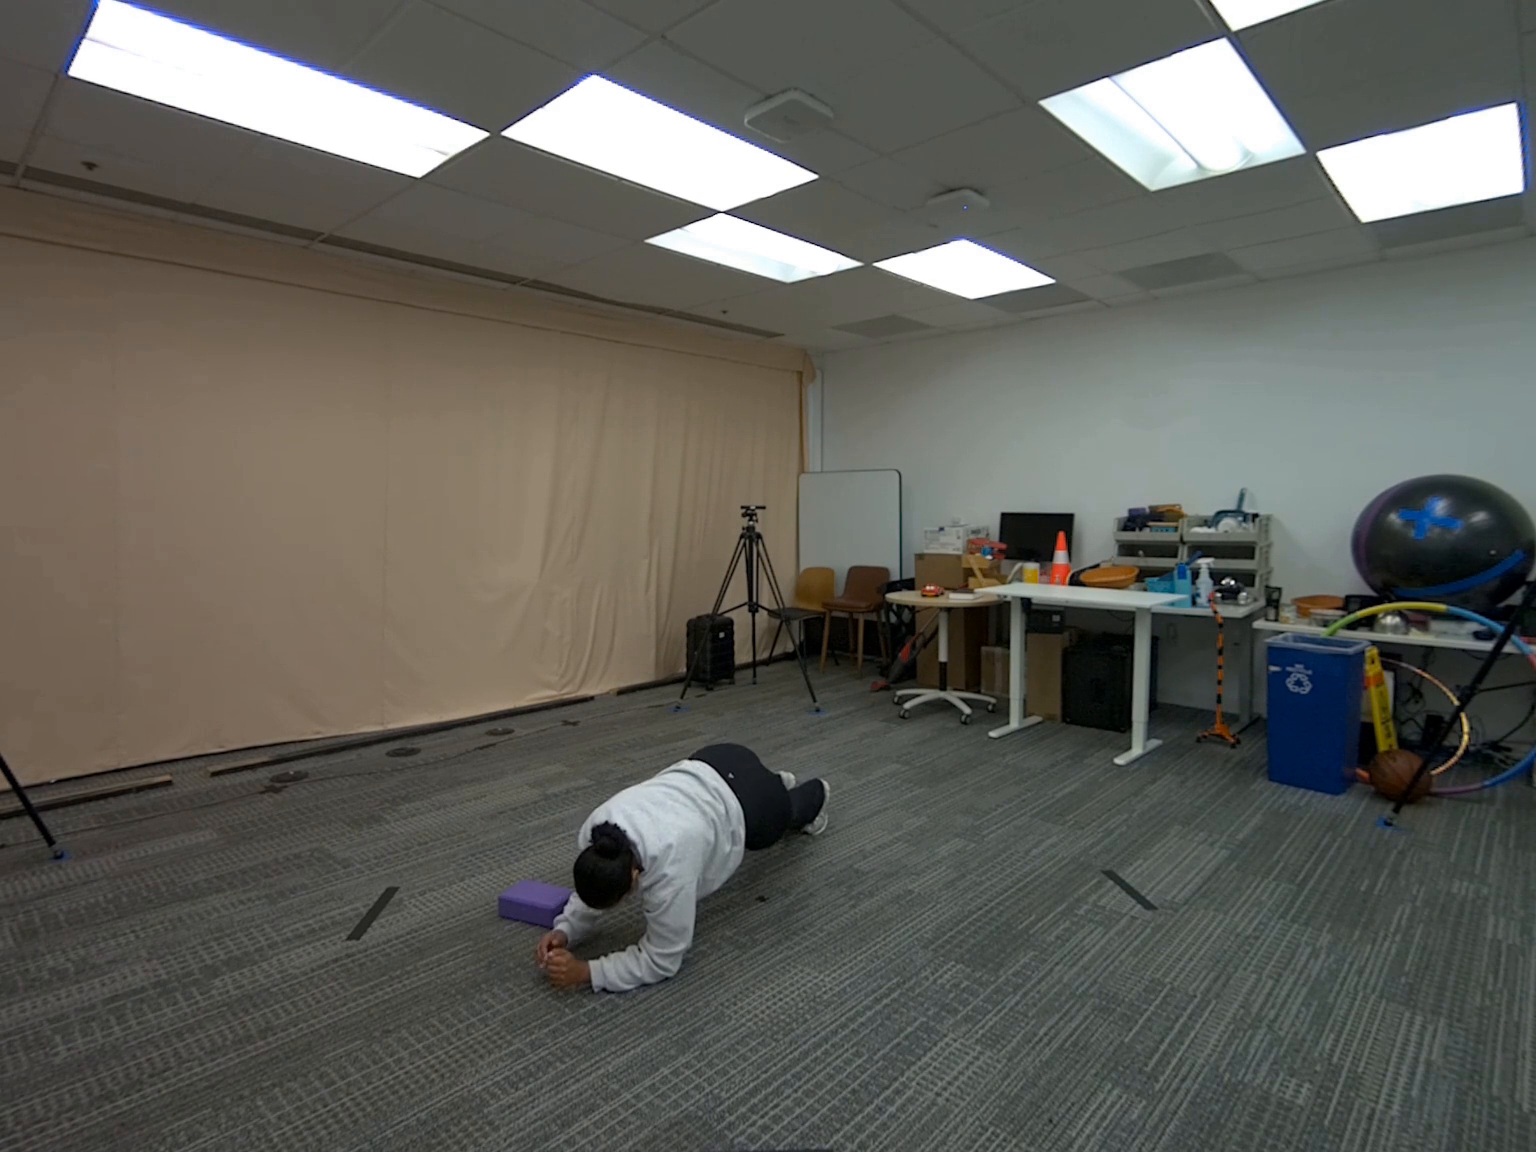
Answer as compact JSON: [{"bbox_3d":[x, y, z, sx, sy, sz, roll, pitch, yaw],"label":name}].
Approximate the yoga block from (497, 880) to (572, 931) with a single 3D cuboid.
[{"bbox_3d":[-0.793,1.125,2.877,0.235,0.076,0.146,1,5,24],"label":"yoga block"}]
